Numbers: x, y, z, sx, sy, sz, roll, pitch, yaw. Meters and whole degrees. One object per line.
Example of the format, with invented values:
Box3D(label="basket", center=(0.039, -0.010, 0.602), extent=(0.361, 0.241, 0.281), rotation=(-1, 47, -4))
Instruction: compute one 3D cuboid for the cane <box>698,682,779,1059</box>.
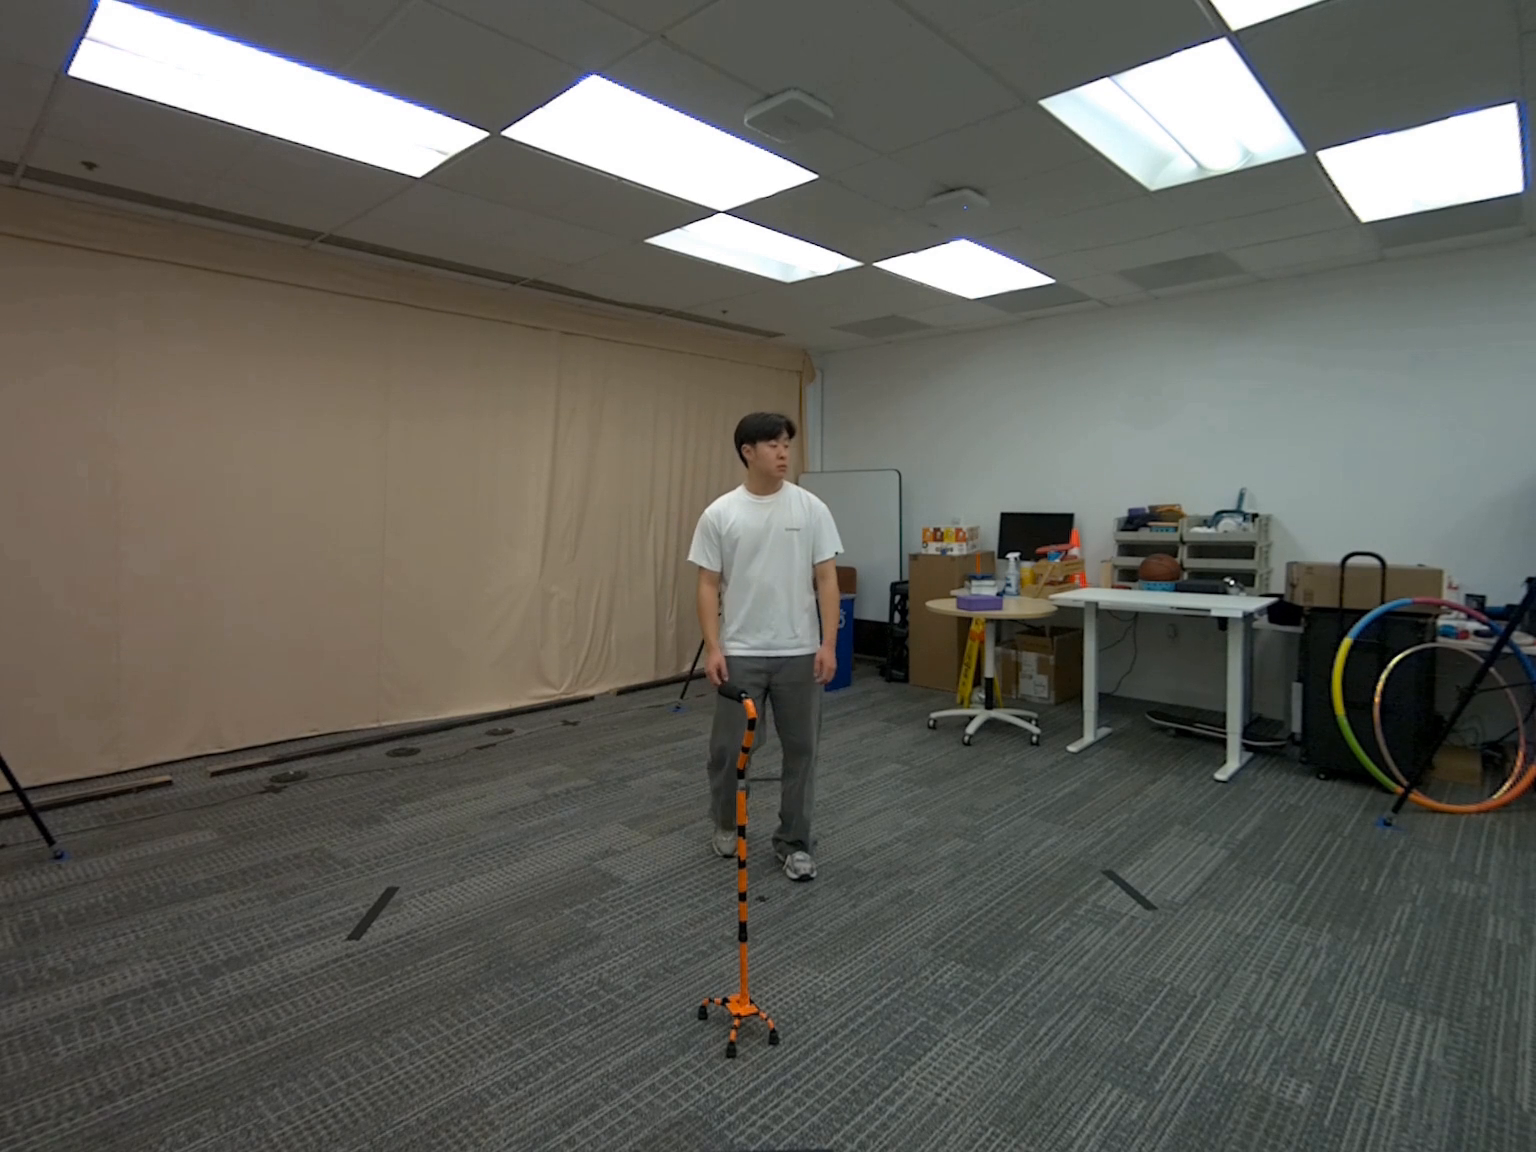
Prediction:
Box3D(label="cane", center=(-0.083, 0.750, 2.215), extent=(0.148, 0.906, 0.212), rotation=(-2, 4, -28))
